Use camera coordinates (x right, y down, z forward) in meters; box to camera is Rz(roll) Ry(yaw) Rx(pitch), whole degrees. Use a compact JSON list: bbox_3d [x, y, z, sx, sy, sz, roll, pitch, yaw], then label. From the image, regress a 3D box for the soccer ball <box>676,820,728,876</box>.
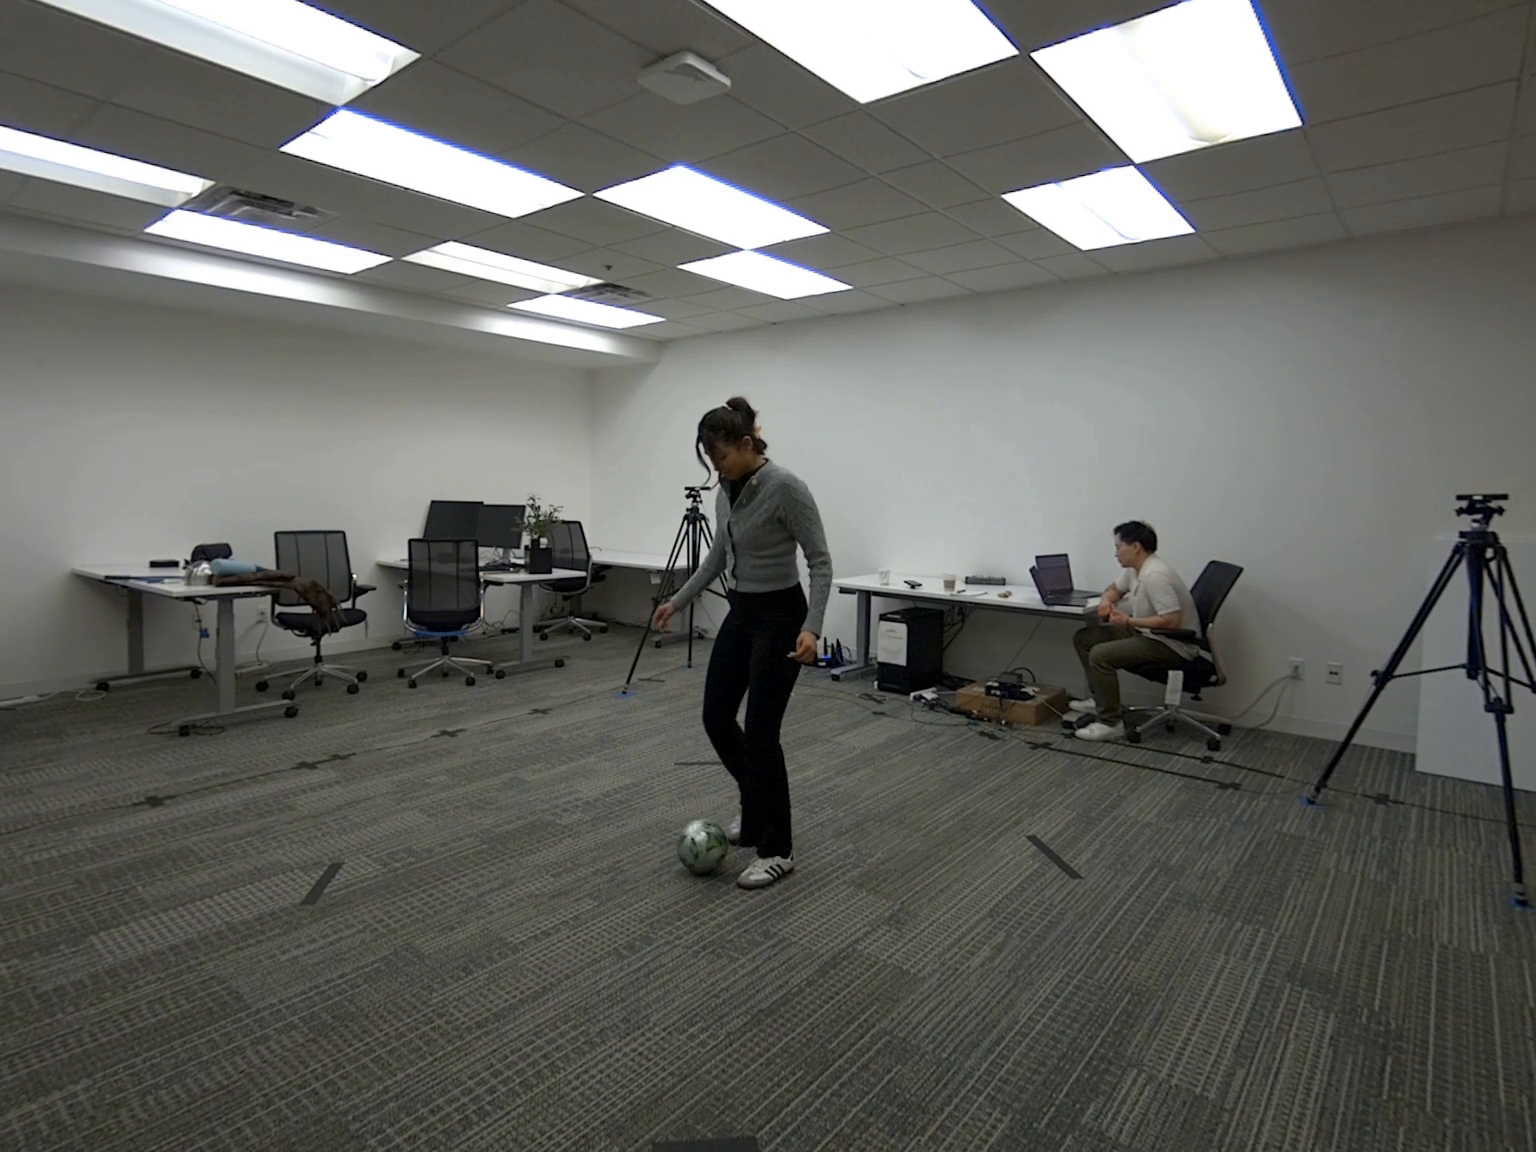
[{"bbox_3d":[-0.248,0.974,3.076,0.187,0.187,0.188,1,4,-2],"label":"soccer ball"}]
